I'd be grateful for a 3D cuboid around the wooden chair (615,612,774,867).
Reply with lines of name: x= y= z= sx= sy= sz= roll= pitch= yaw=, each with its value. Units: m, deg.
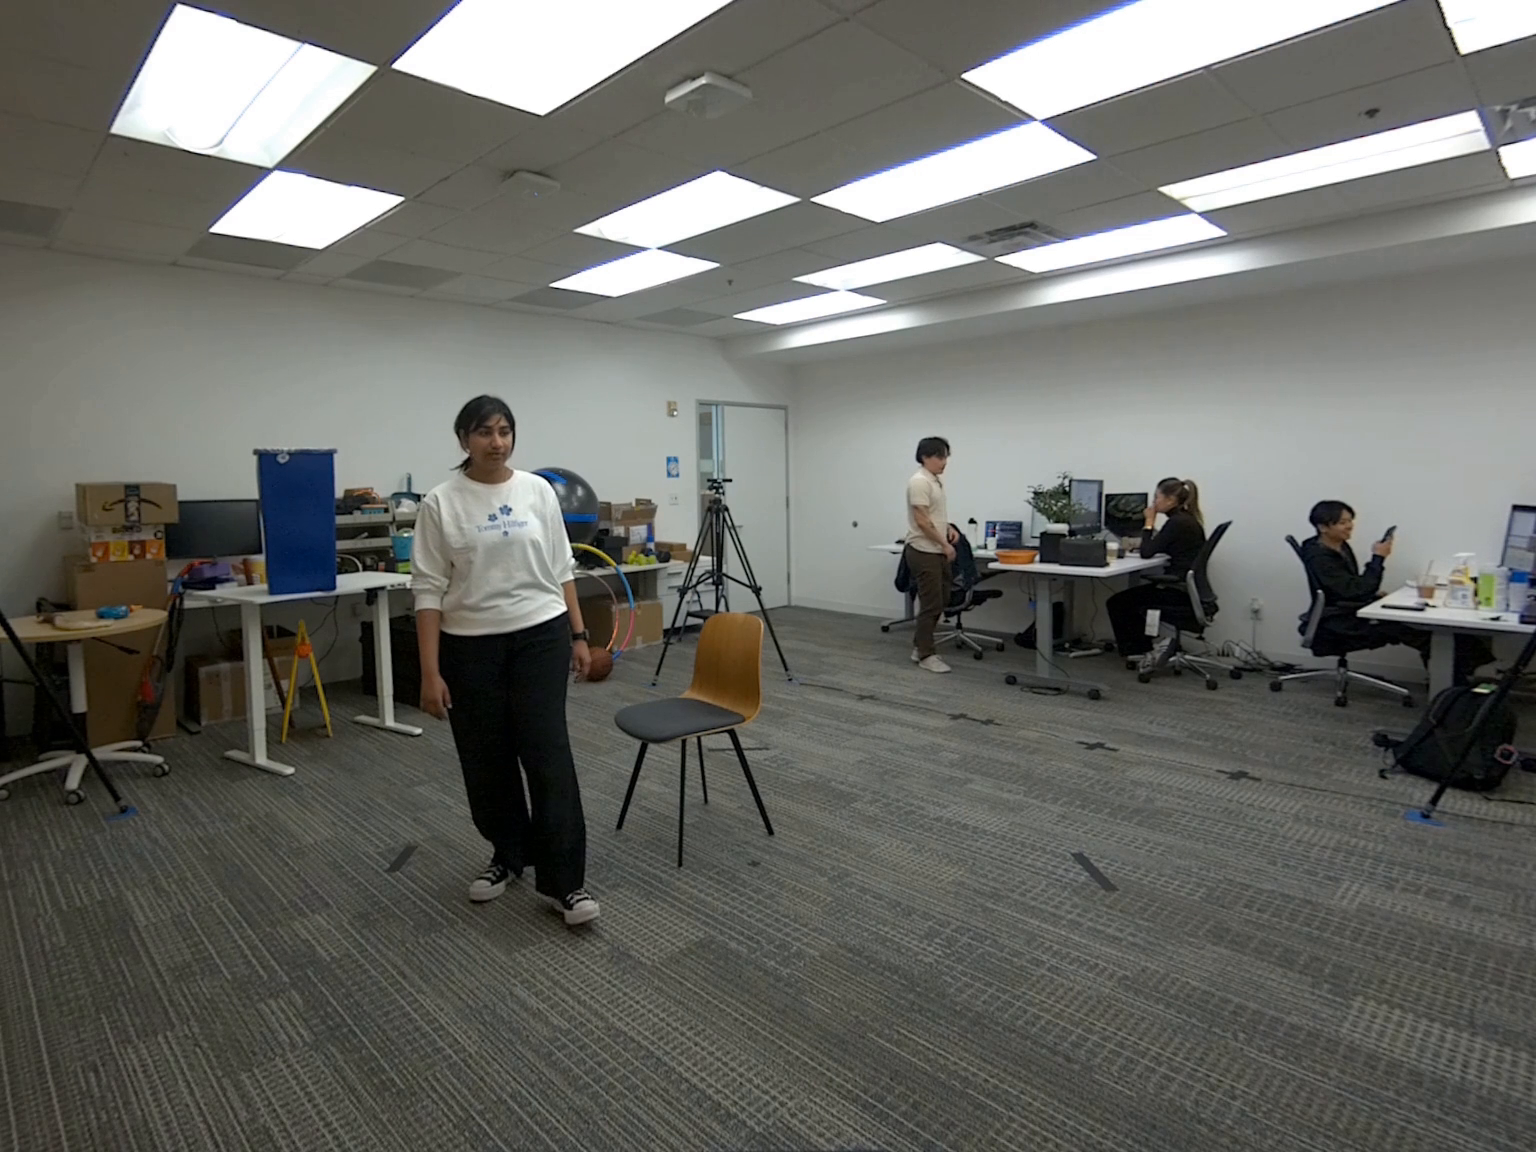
wooden chair: x=-0.304 y=0.592 z=3.359 sx=0.508 sy=0.876 sz=0.492 roll=1 pitch=2 yaw=-39
